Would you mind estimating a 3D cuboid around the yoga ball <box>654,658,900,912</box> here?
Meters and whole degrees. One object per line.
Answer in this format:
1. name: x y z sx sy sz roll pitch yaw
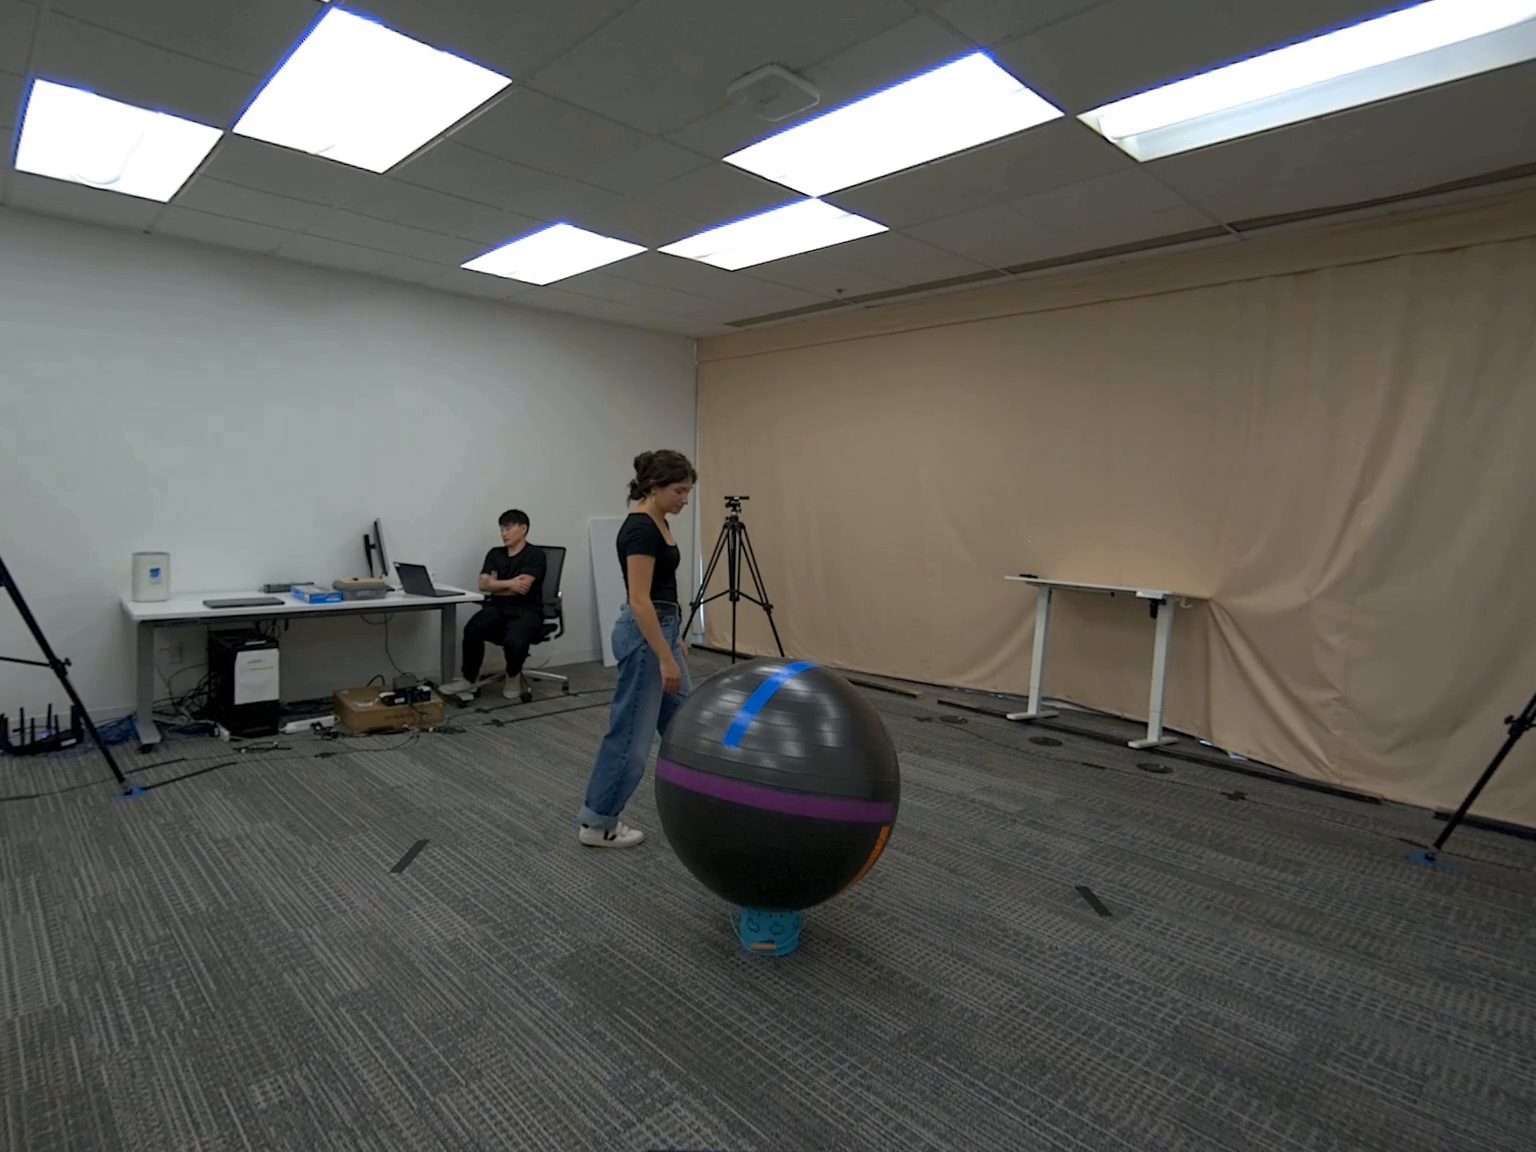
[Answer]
1. yoga ball: 0.020 0.636 2.628 0.757 0.756 0.761 1 4 -1
